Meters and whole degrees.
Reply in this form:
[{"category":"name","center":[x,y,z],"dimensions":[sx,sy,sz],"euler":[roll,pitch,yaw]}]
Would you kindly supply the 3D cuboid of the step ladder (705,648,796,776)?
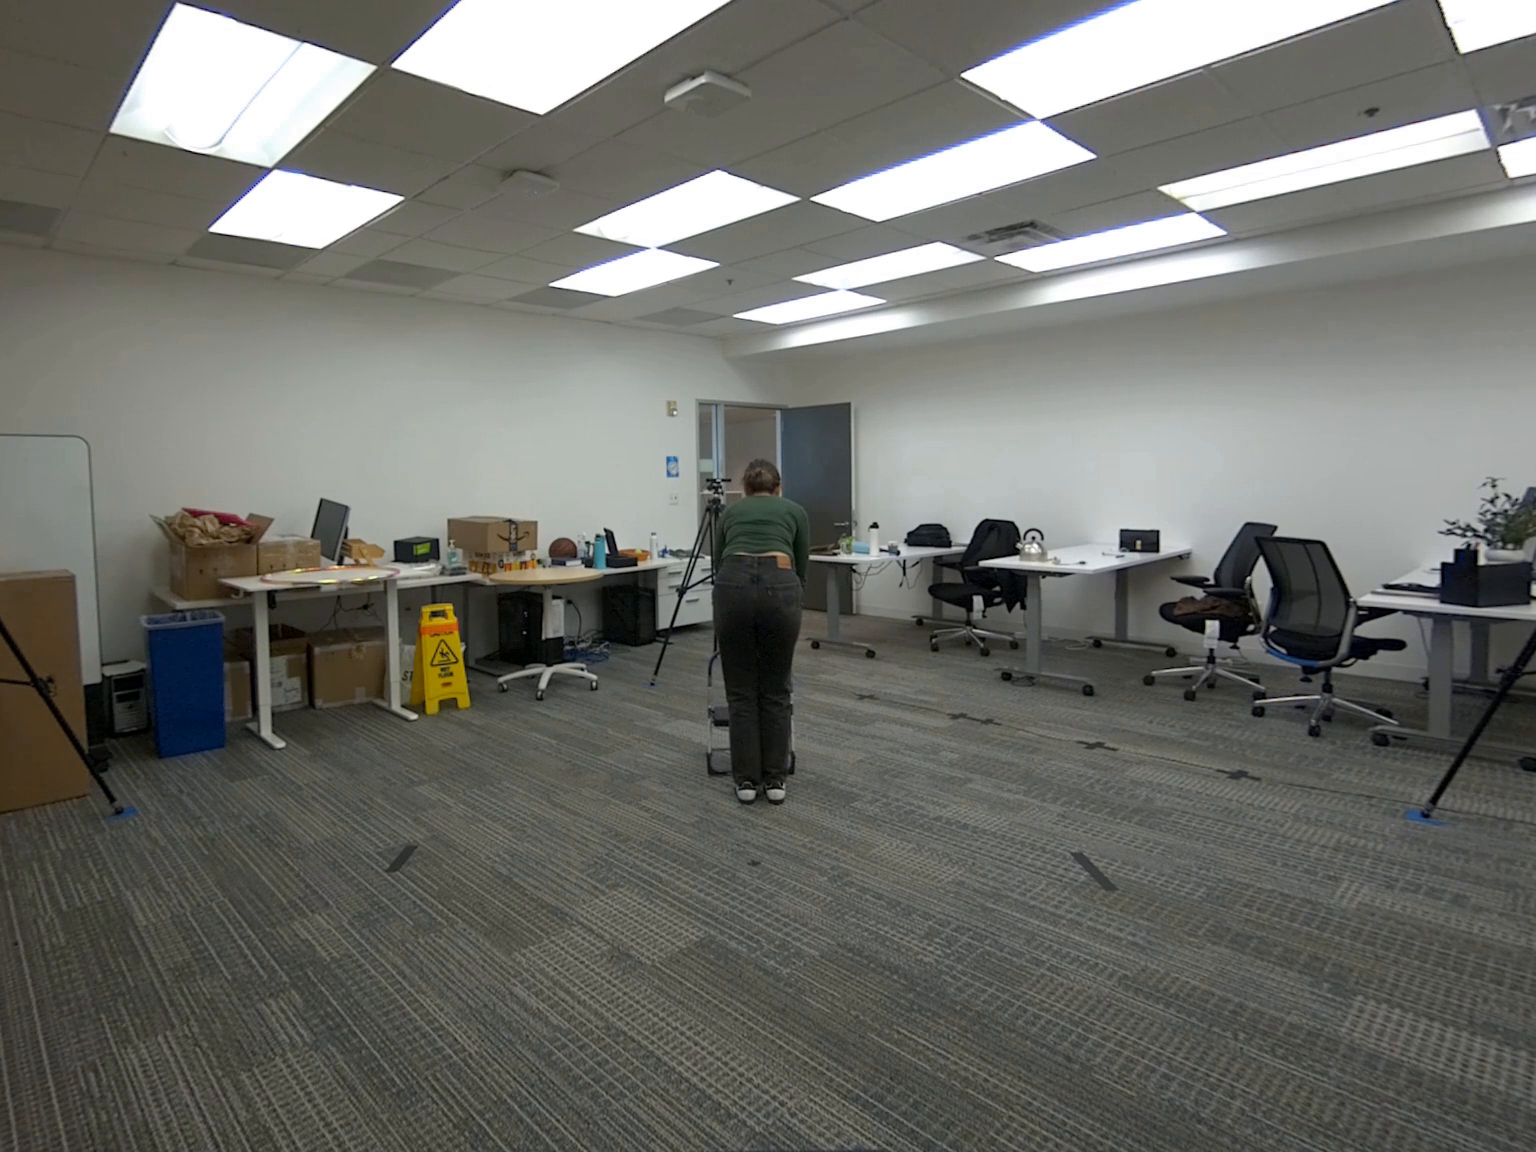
[{"category":"step ladder","center":[-0.093,0.621,4.182],"dimensions":[0.430,0.604,0.351],"euler":[-1,4,-2]}]
